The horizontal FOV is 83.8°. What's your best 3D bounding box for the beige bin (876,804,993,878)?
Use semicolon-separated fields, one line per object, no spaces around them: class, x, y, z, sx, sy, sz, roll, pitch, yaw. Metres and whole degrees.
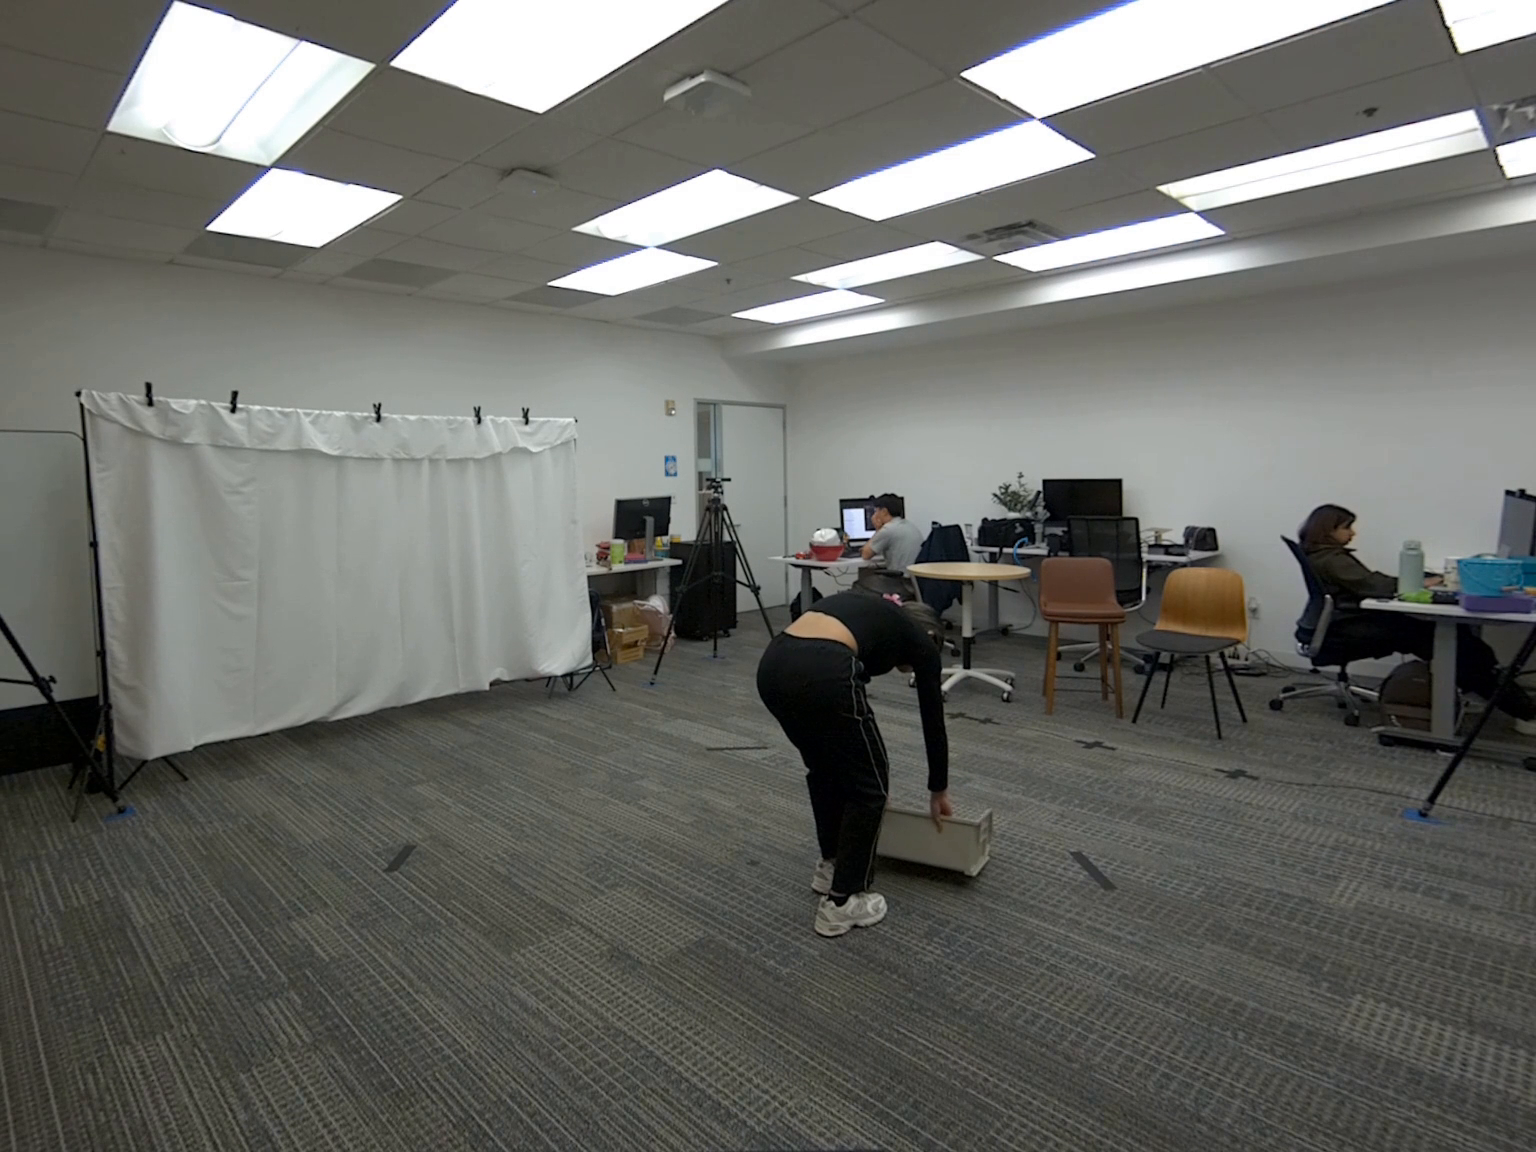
beige bin;0.578;0.919;3.094;0.432;0.190;0.367;4;-4;25
